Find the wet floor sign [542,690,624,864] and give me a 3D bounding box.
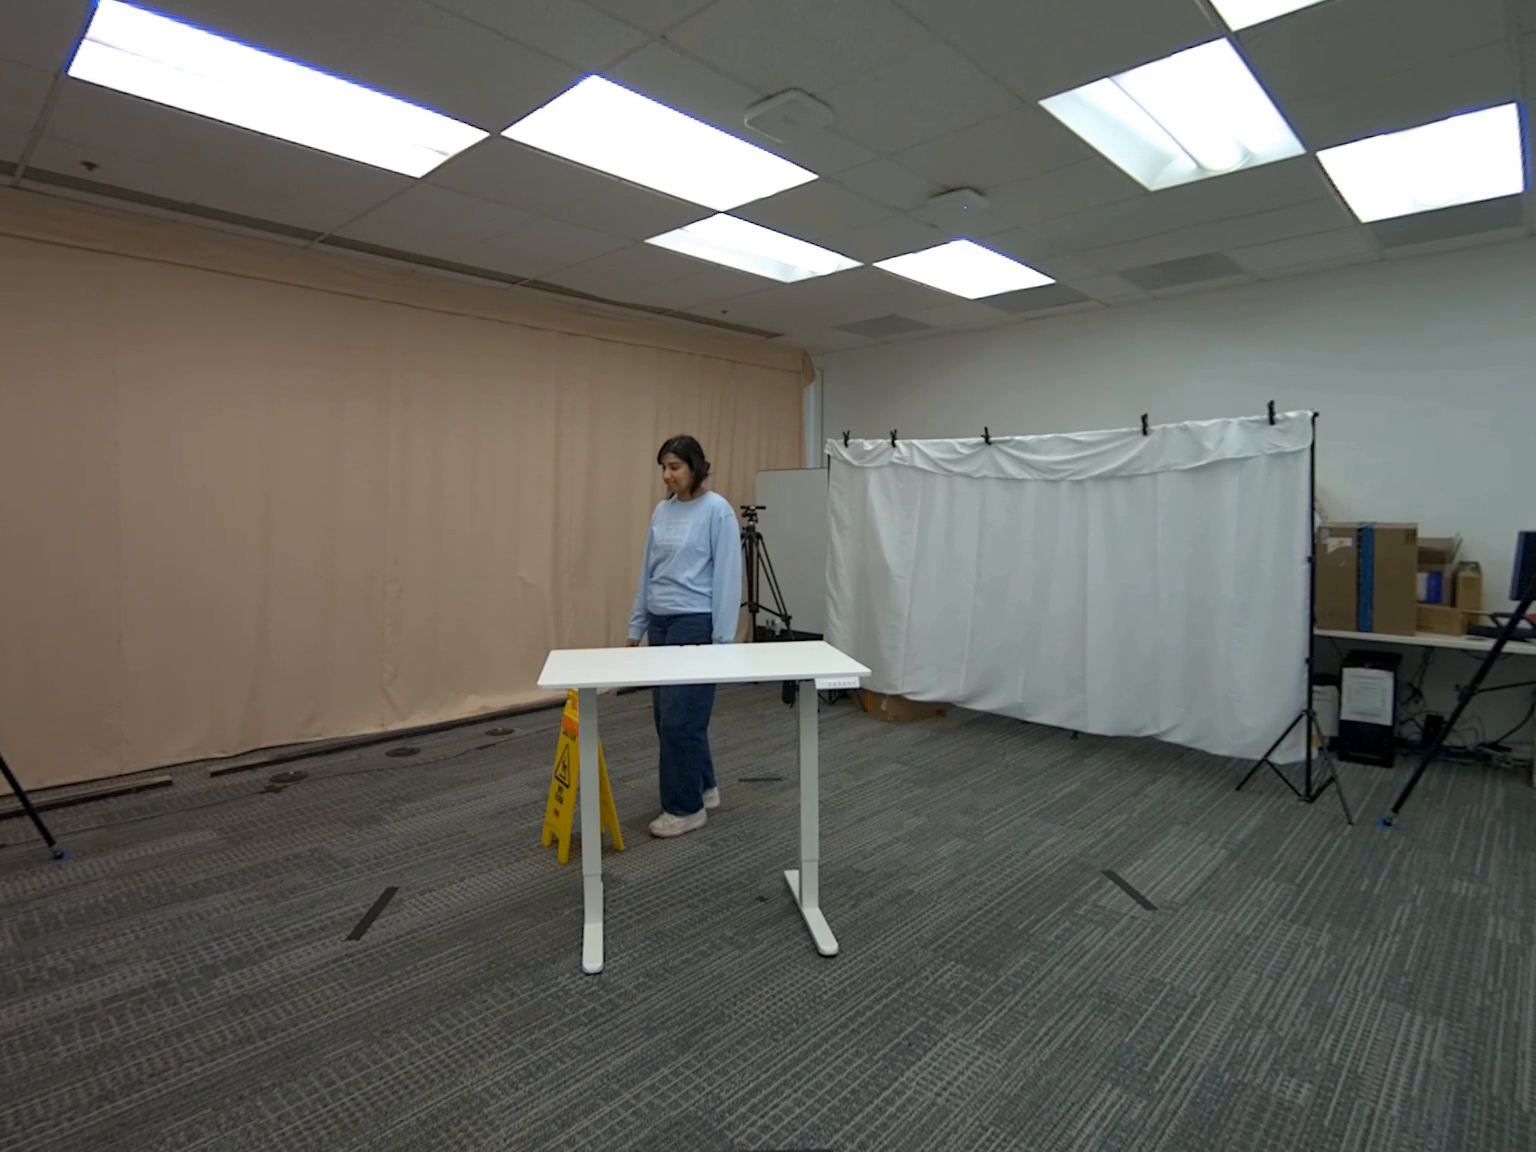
[{"bbox_3d":[-0.769,0.790,3.446,0.282,0.645,0.290,-3,3,-30],"label":"wet floor sign"}]
